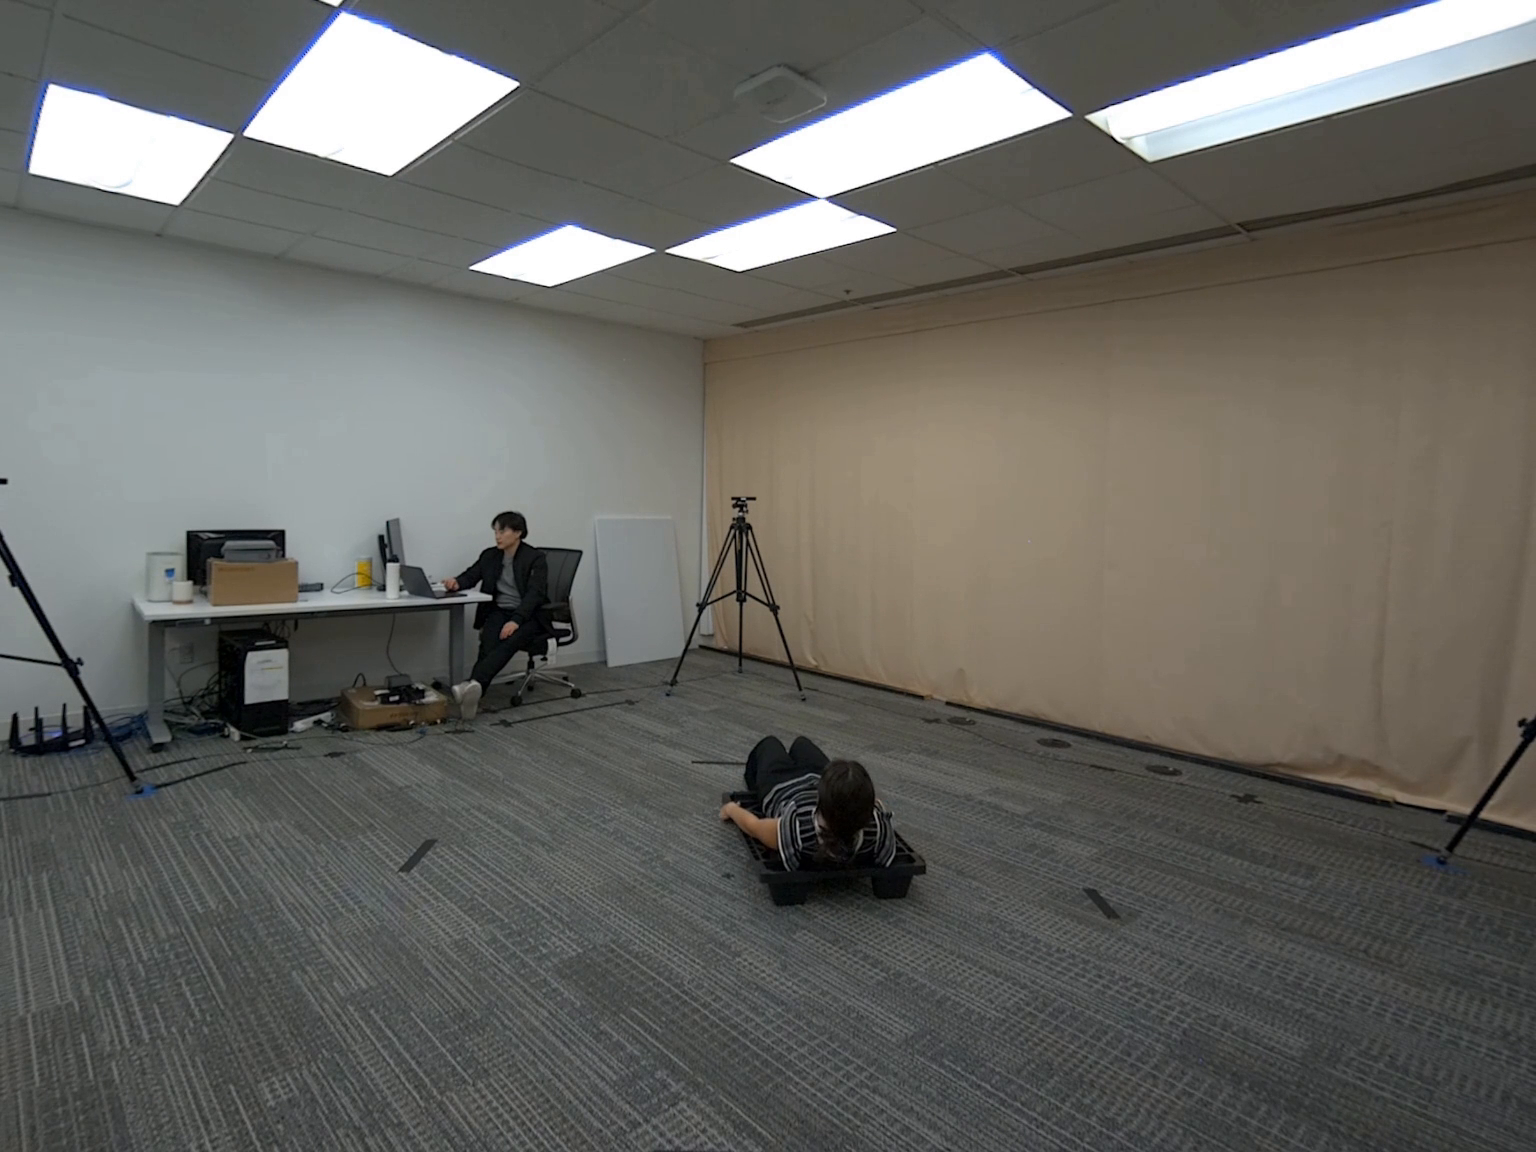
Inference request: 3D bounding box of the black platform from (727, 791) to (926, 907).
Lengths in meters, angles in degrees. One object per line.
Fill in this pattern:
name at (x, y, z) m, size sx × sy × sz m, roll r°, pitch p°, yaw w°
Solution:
black platform at (0.168, 1.033, 3.285) m, size 0.600 × 0.143 × 0.814 m, roll -1°, pitch 5°, yaw -11°
